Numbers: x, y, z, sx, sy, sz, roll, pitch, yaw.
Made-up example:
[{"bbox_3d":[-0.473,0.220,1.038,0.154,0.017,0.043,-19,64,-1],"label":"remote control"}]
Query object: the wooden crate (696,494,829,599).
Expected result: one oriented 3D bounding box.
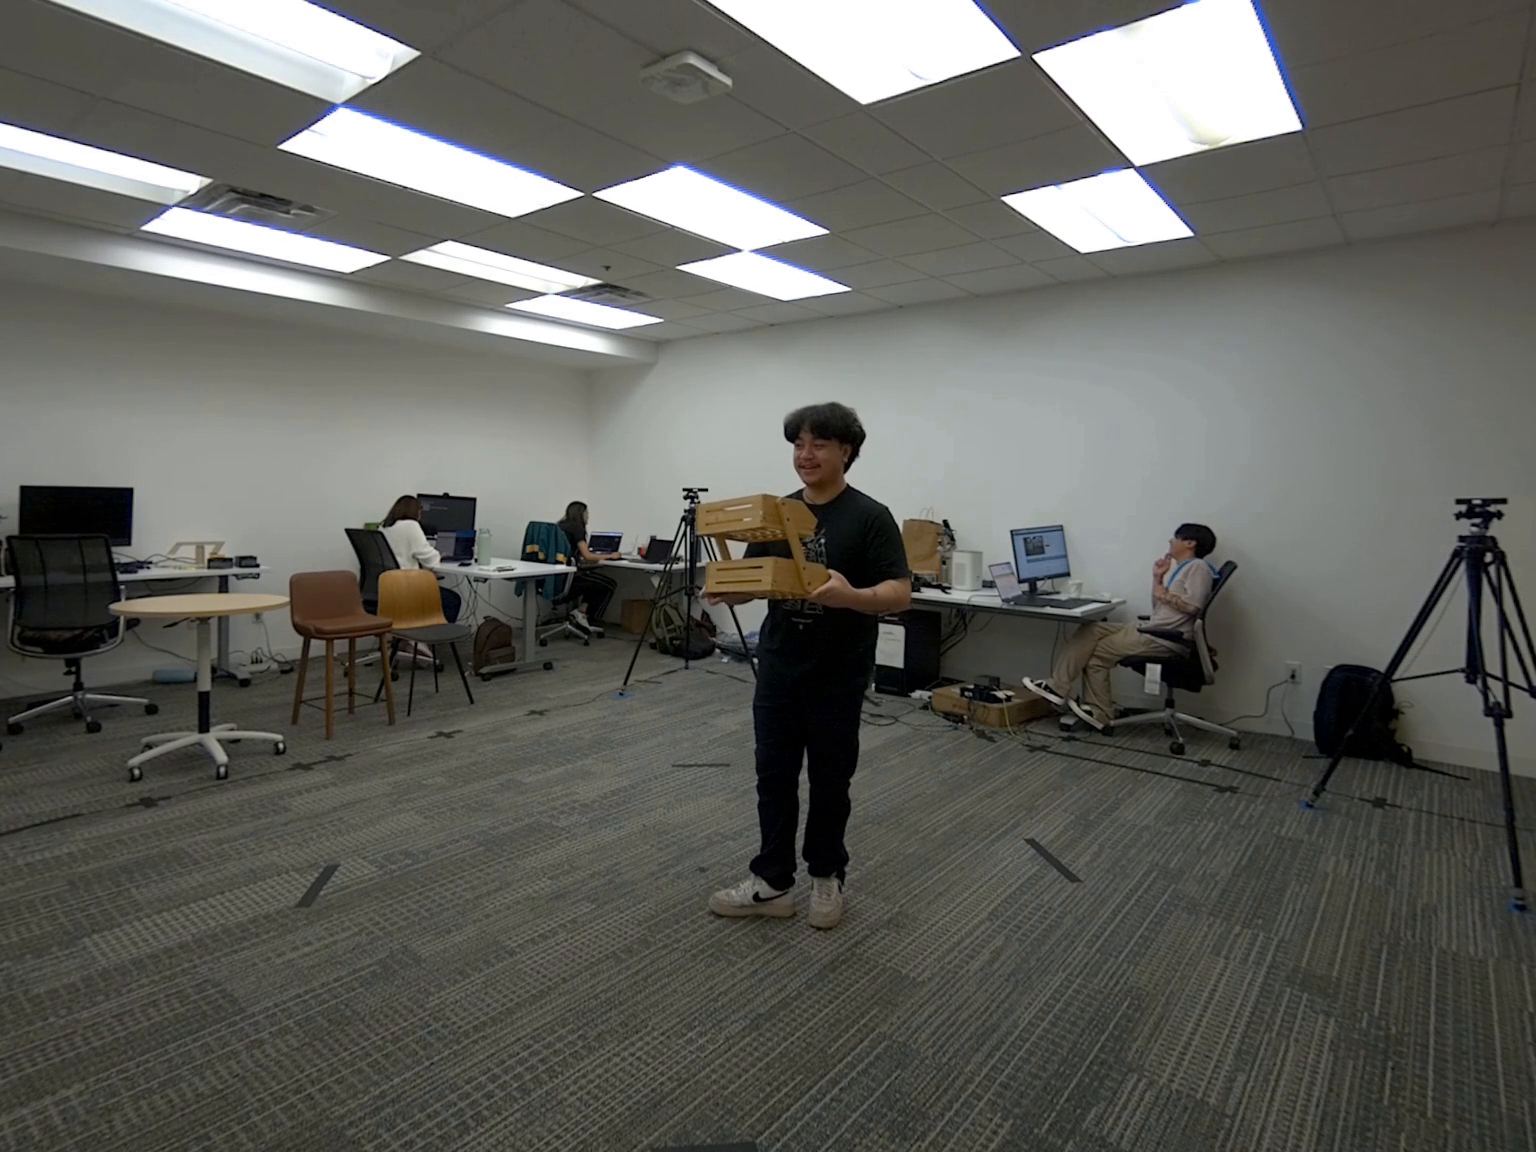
[{"bbox_3d":[-0.008,-0.082,2.504,0.292,0.275,0.334,7,-7,-40],"label":"wooden crate"}]
